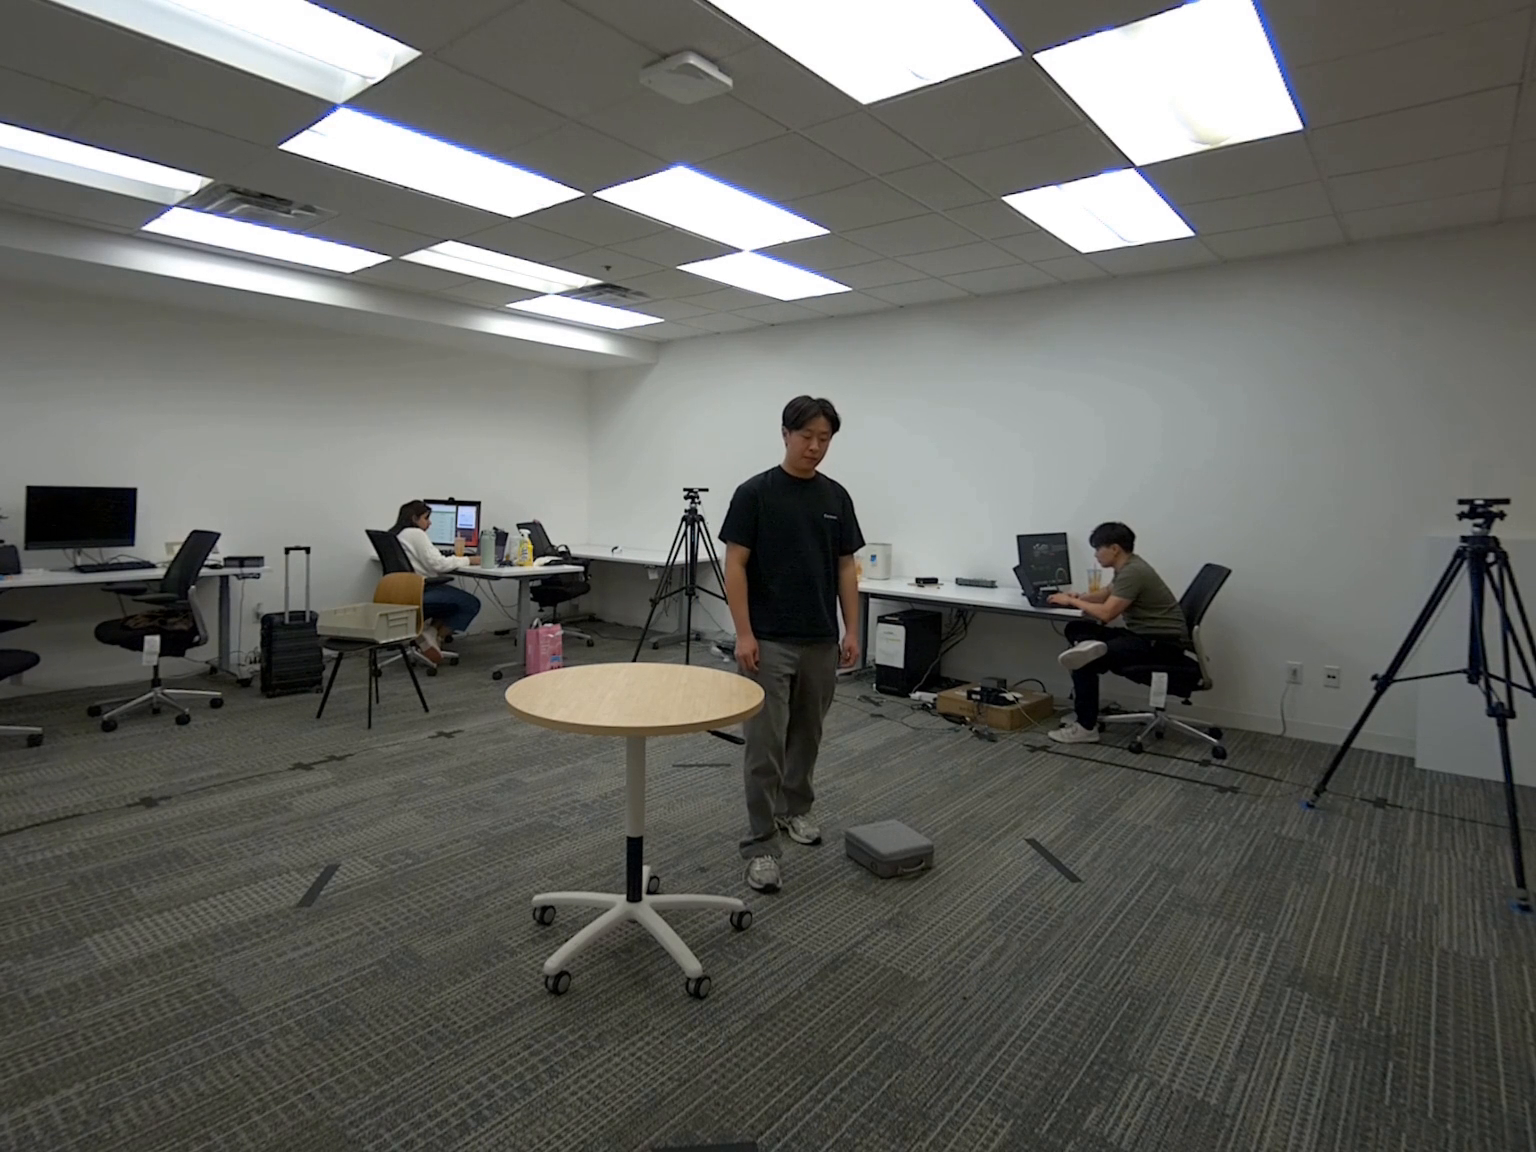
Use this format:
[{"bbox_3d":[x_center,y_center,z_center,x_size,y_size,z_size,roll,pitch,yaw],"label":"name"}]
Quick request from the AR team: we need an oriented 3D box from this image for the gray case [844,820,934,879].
[{"bbox_3d":[0.454,1.026,3.199,0.257,0.102,0.296,-3,7,-28],"label":"gray case"}]
